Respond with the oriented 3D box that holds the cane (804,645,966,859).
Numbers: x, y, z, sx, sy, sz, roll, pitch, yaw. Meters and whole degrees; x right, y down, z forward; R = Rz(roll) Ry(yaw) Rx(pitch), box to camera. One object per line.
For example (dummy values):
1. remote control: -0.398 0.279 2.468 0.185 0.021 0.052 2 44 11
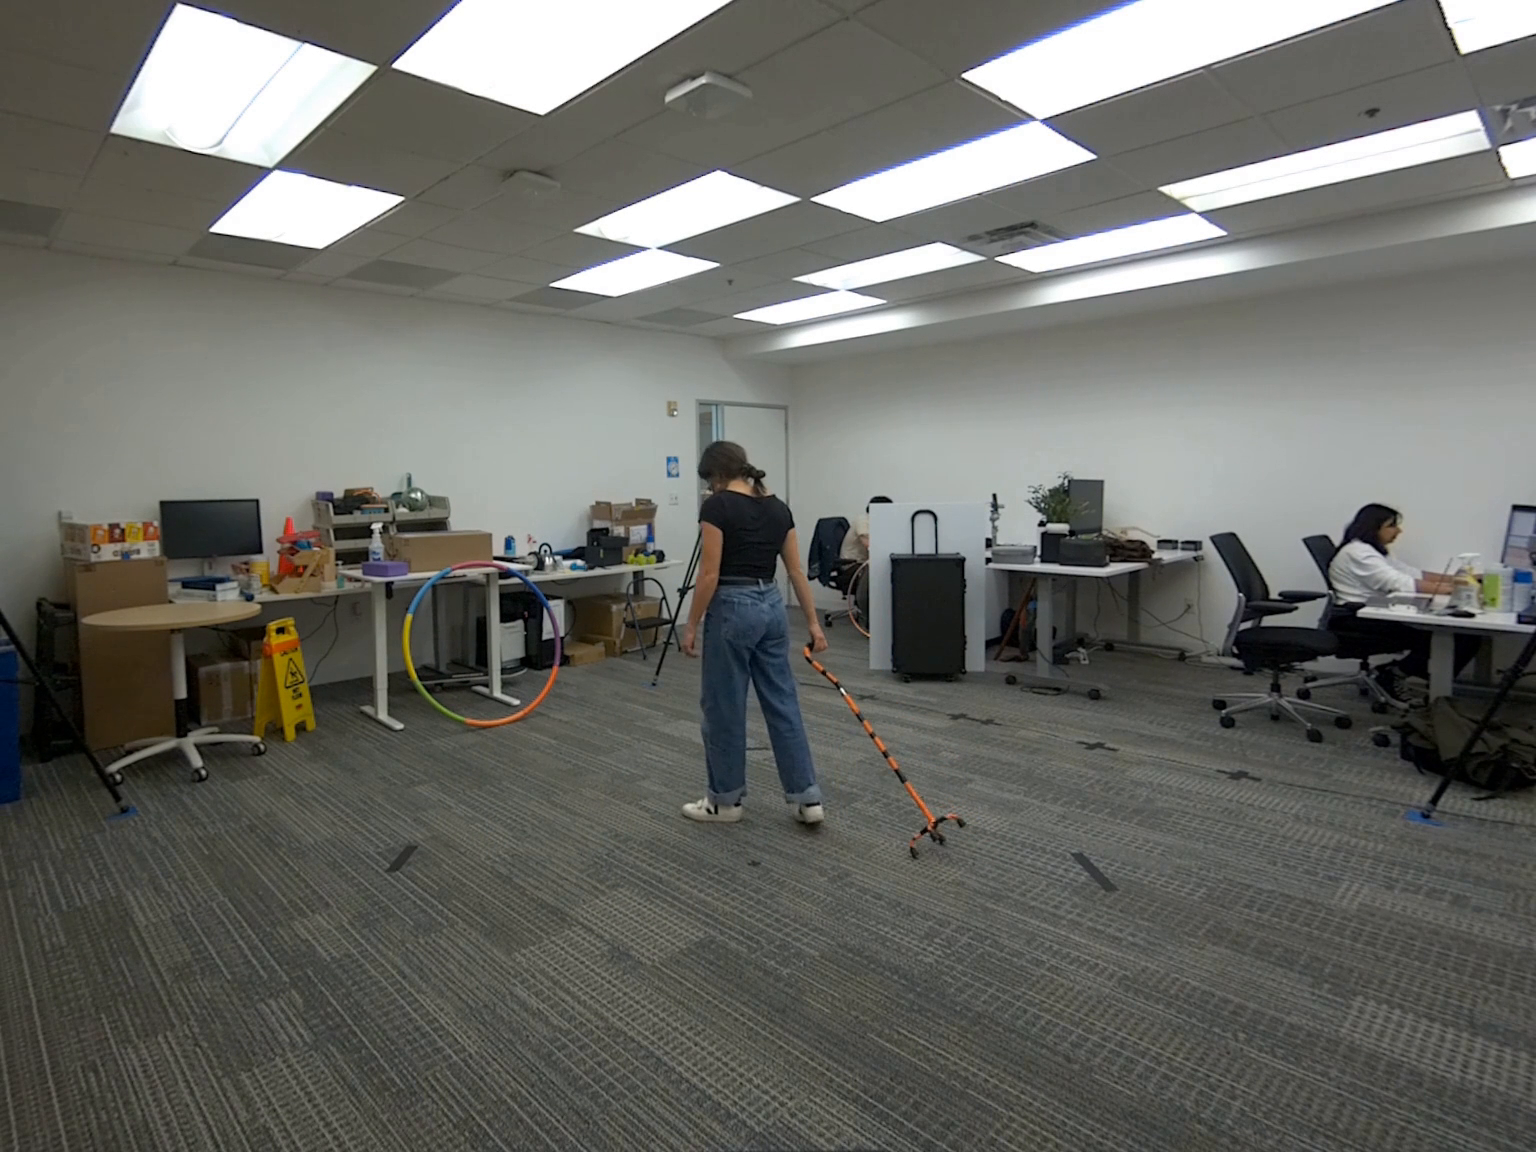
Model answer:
1. cane: 0.405 0.637 3.362 0.201 0.937 0.151 -4 -40 -44
